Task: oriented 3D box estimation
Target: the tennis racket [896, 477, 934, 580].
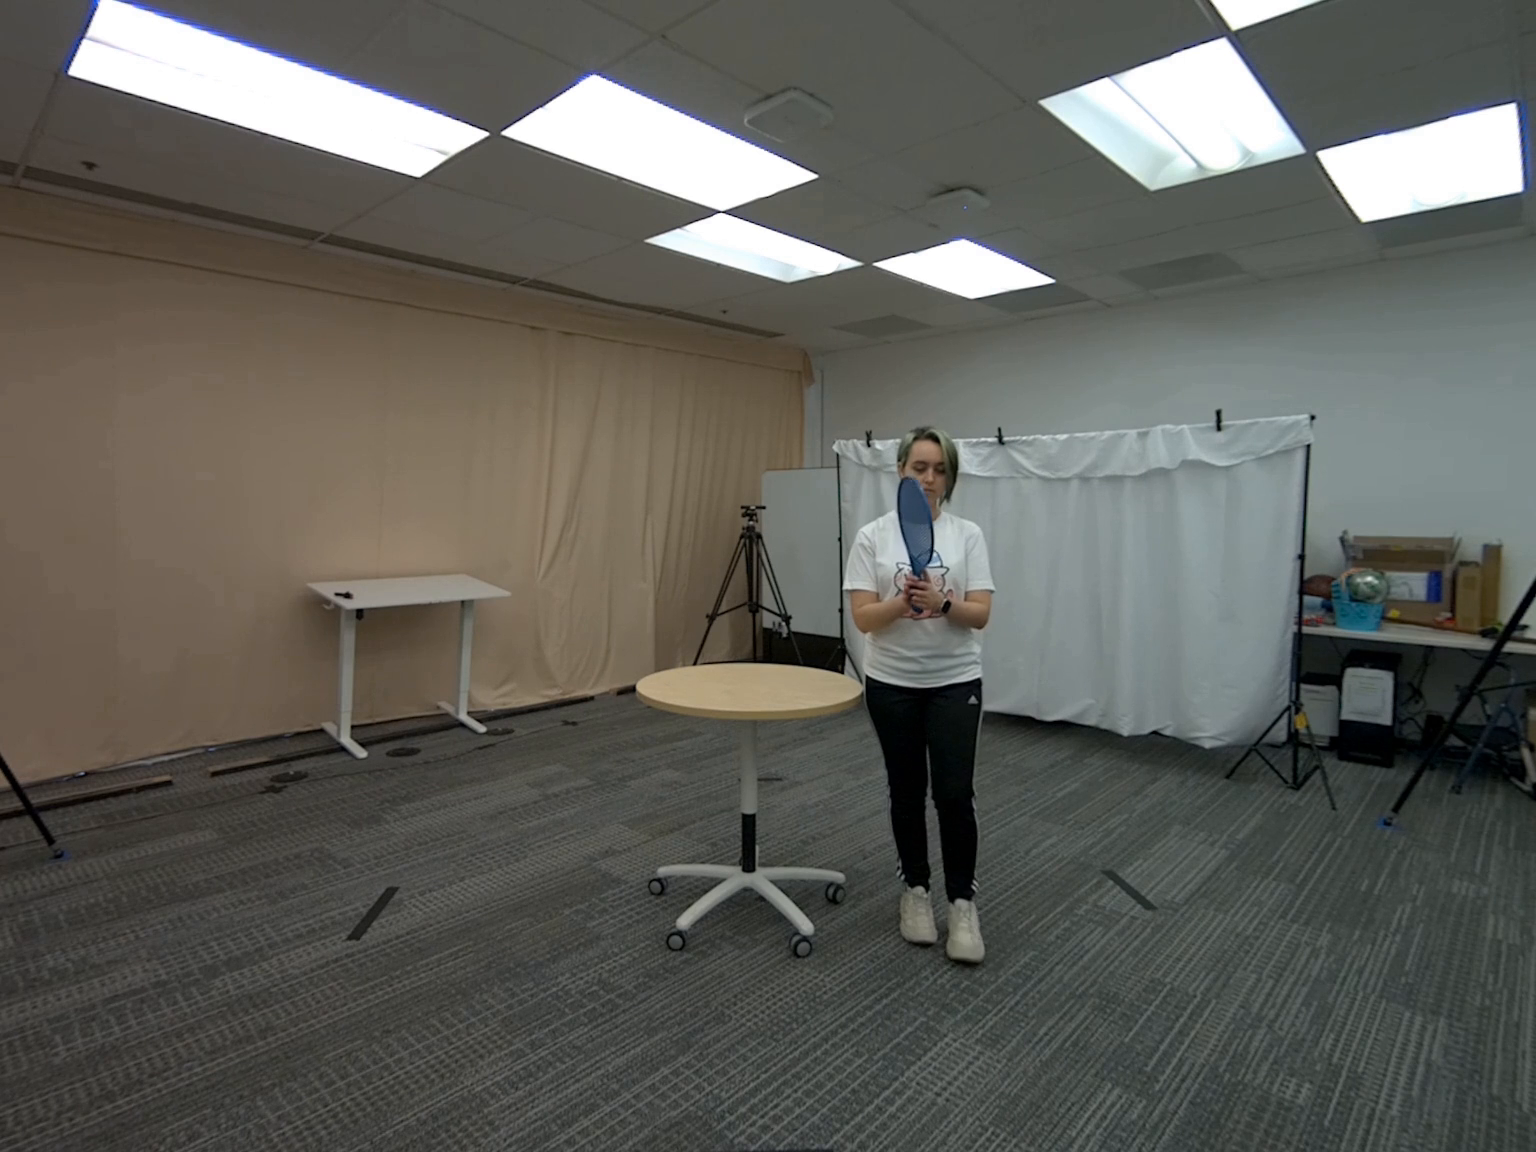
[{"bbox_3d":[0.417,-0.084,2.353,0.031,0.423,0.220,-15,36,-9],"label":"tennis racket"}]
